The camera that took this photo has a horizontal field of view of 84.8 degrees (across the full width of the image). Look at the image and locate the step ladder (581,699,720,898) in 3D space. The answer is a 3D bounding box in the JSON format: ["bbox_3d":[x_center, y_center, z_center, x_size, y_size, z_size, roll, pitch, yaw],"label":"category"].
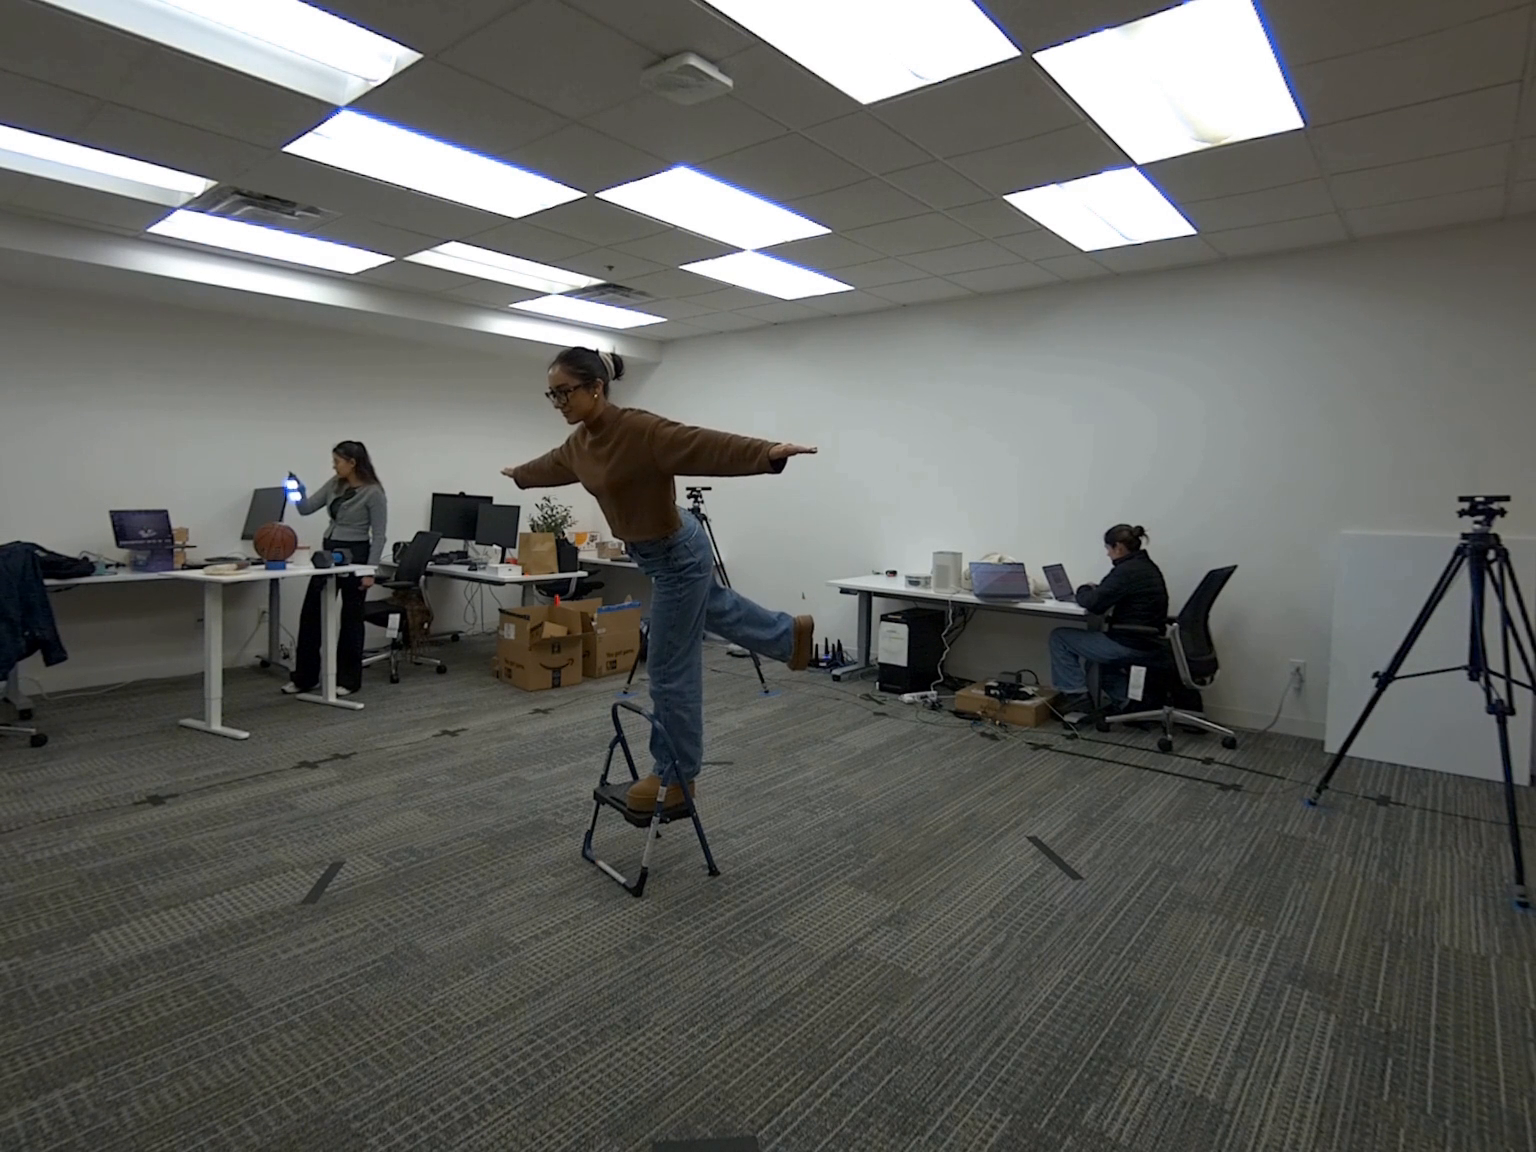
[{"bbox_3d":[-0.447,0.760,3.116,0.339,0.604,0.445,-2,5,-39],"label":"step ladder"}]
